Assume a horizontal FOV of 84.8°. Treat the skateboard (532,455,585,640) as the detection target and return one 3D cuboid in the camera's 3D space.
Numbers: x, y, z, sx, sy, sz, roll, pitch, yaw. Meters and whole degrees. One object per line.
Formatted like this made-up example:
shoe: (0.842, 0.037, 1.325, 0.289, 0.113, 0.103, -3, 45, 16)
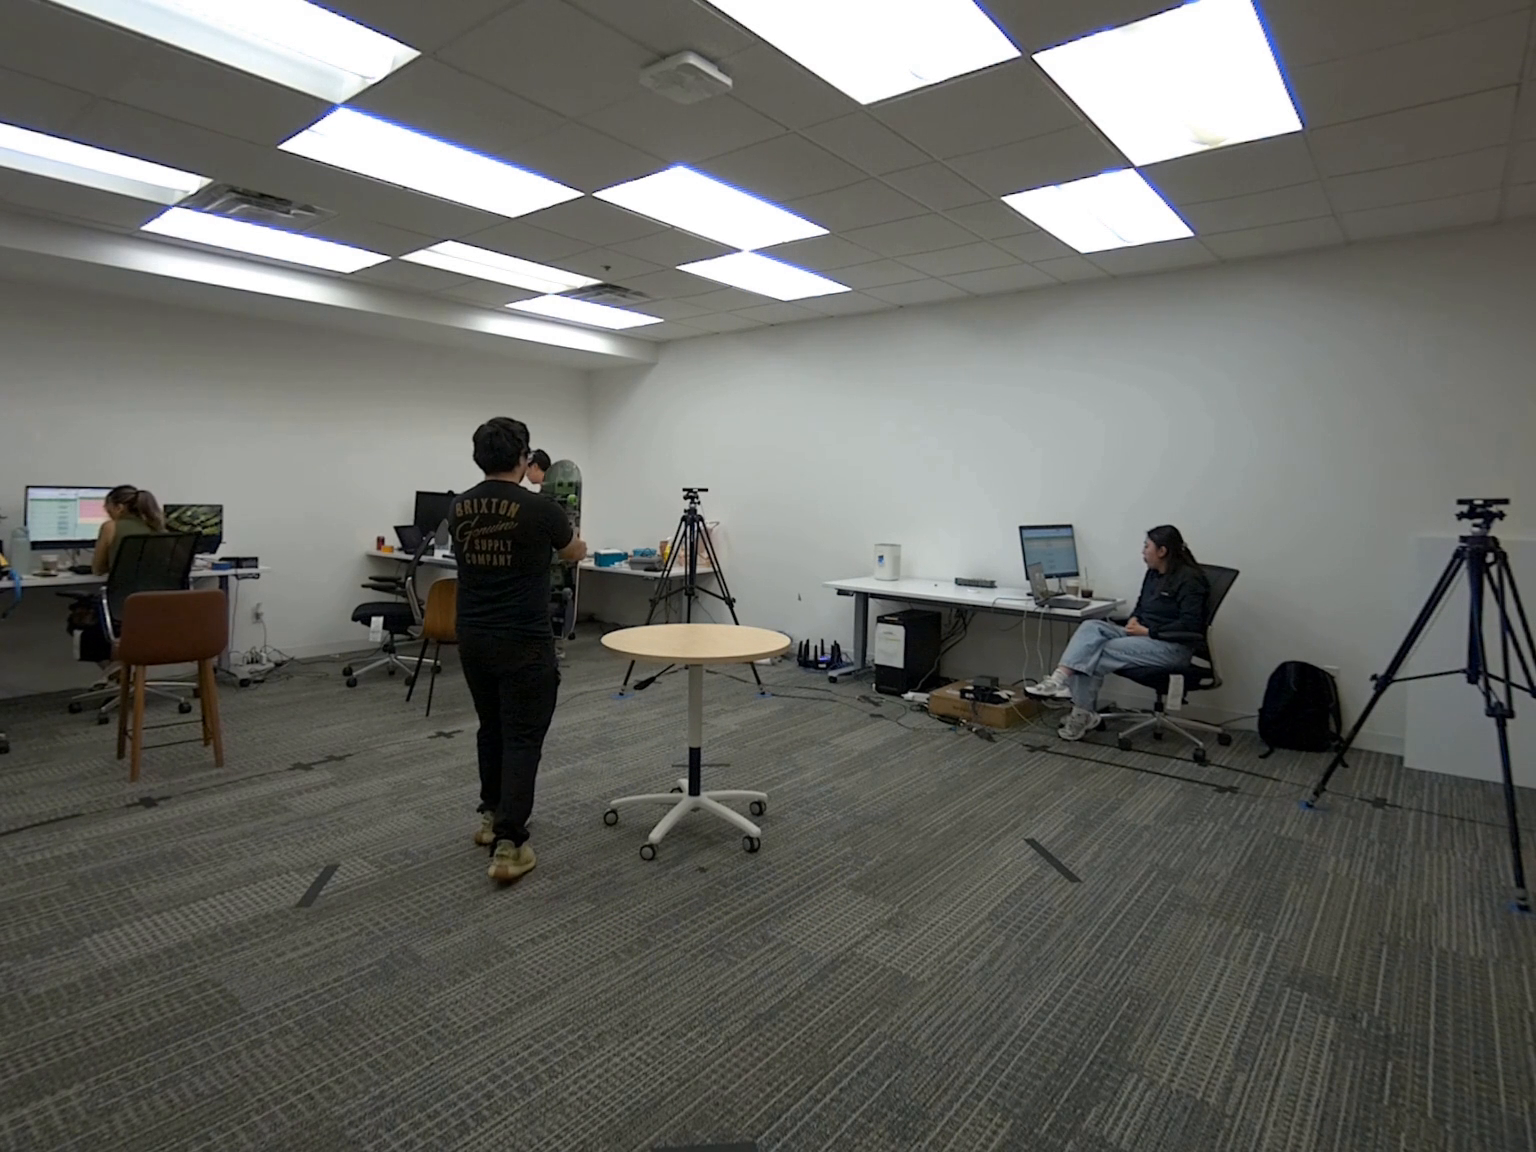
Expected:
skateboard: (-0.920, -0.125, 3.645, 0.196, 0.791, 0.108, -1, -8, 12)
